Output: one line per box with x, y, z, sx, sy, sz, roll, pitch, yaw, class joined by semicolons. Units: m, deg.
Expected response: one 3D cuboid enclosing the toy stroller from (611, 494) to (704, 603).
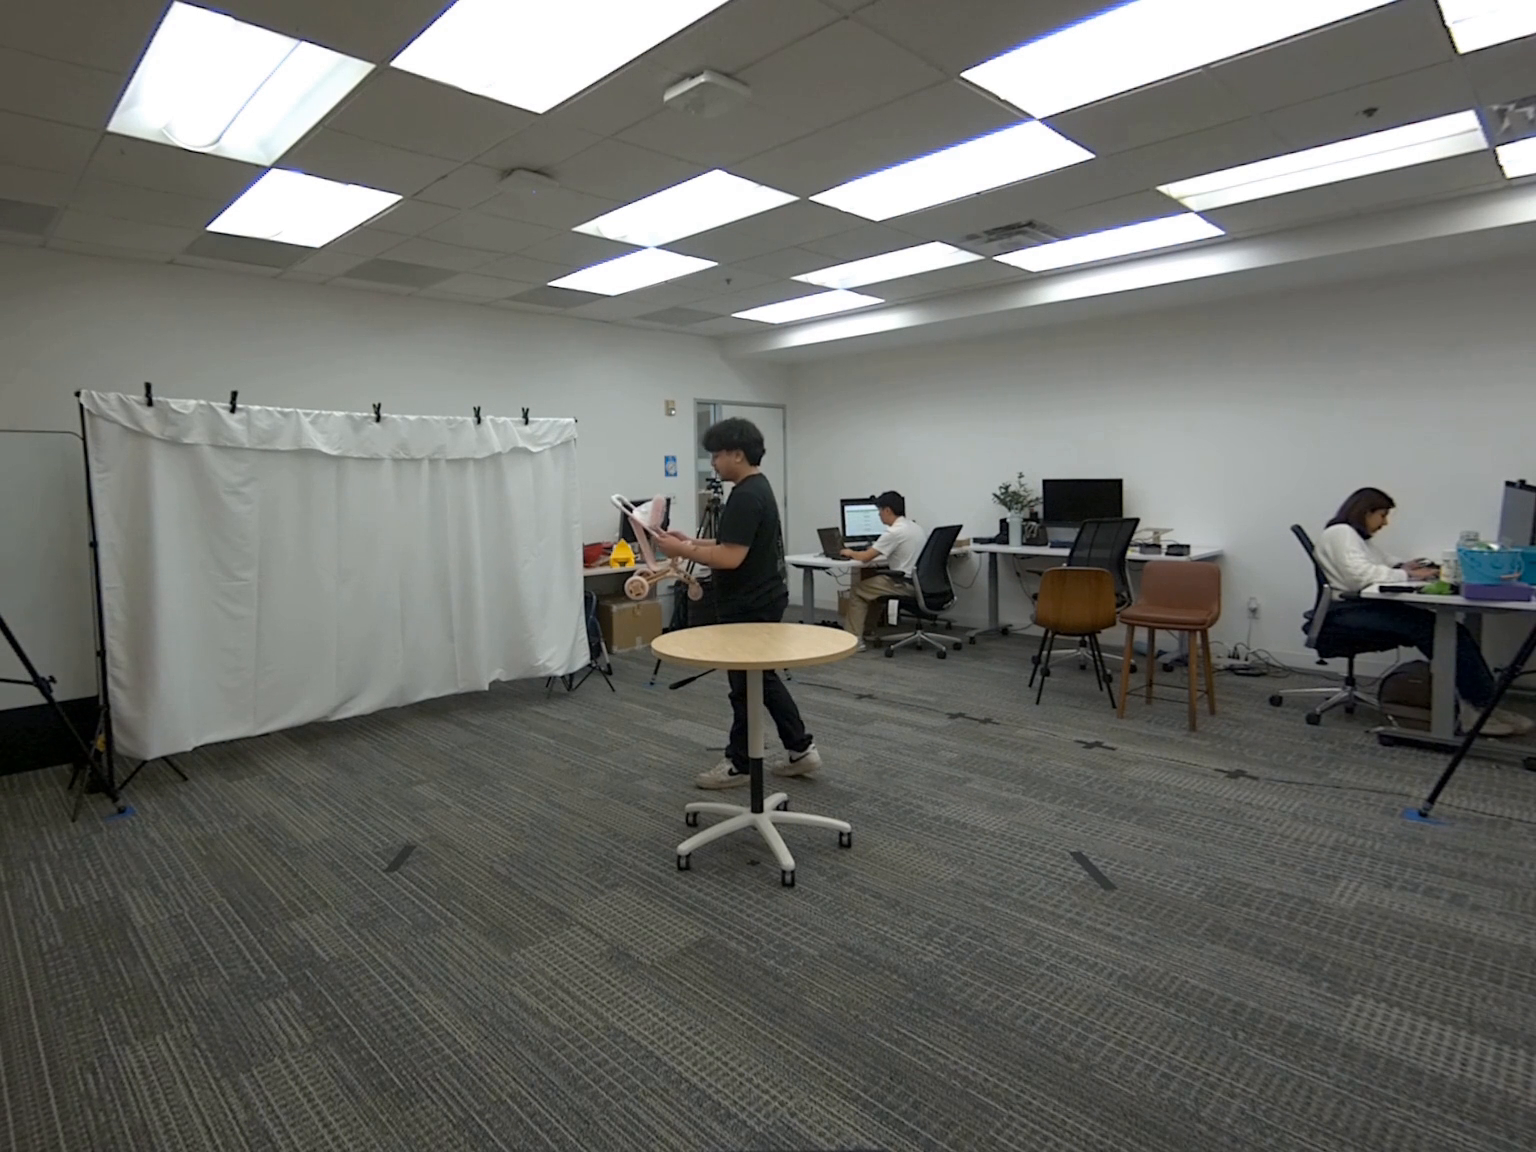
-0.499;-0.132;3.904;0.344;0.532;0.281;-8;5;8;toy stroller
